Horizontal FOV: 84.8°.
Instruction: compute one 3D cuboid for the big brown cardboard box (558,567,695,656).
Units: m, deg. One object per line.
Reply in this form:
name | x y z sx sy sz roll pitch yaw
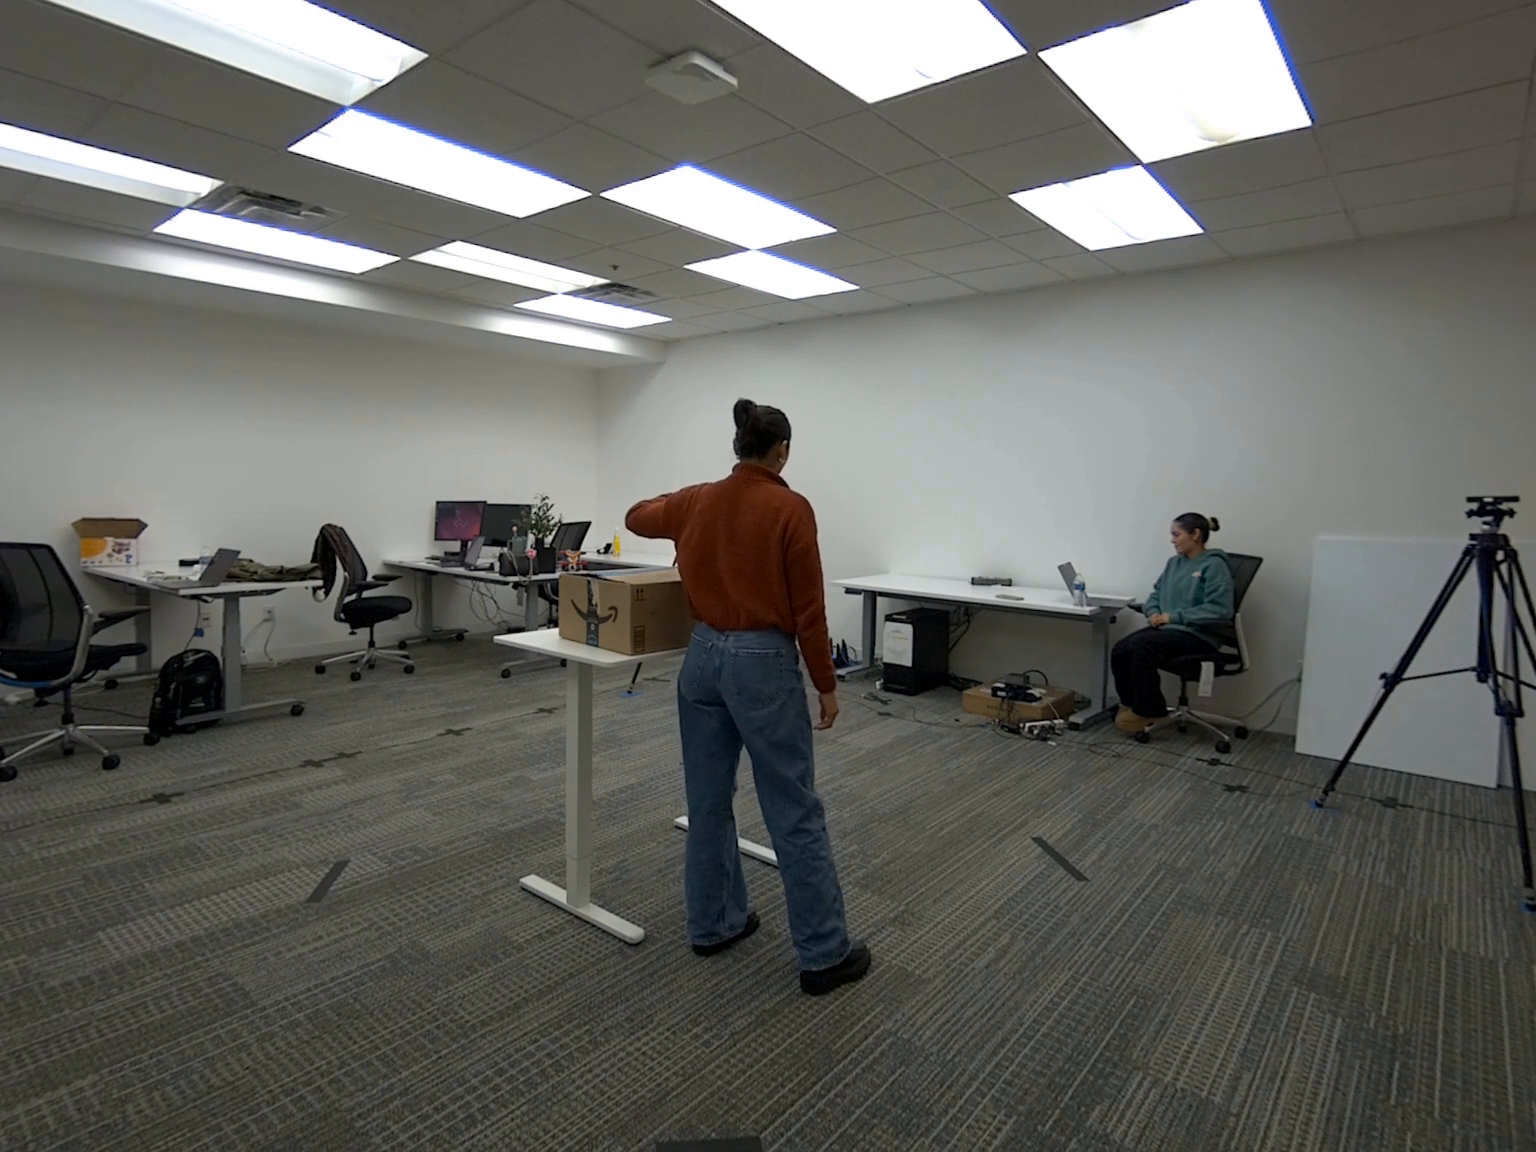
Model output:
big brown cardboard box | -0.365 0.095 2.874 0.572 0.232 0.432 -6 8 -43
